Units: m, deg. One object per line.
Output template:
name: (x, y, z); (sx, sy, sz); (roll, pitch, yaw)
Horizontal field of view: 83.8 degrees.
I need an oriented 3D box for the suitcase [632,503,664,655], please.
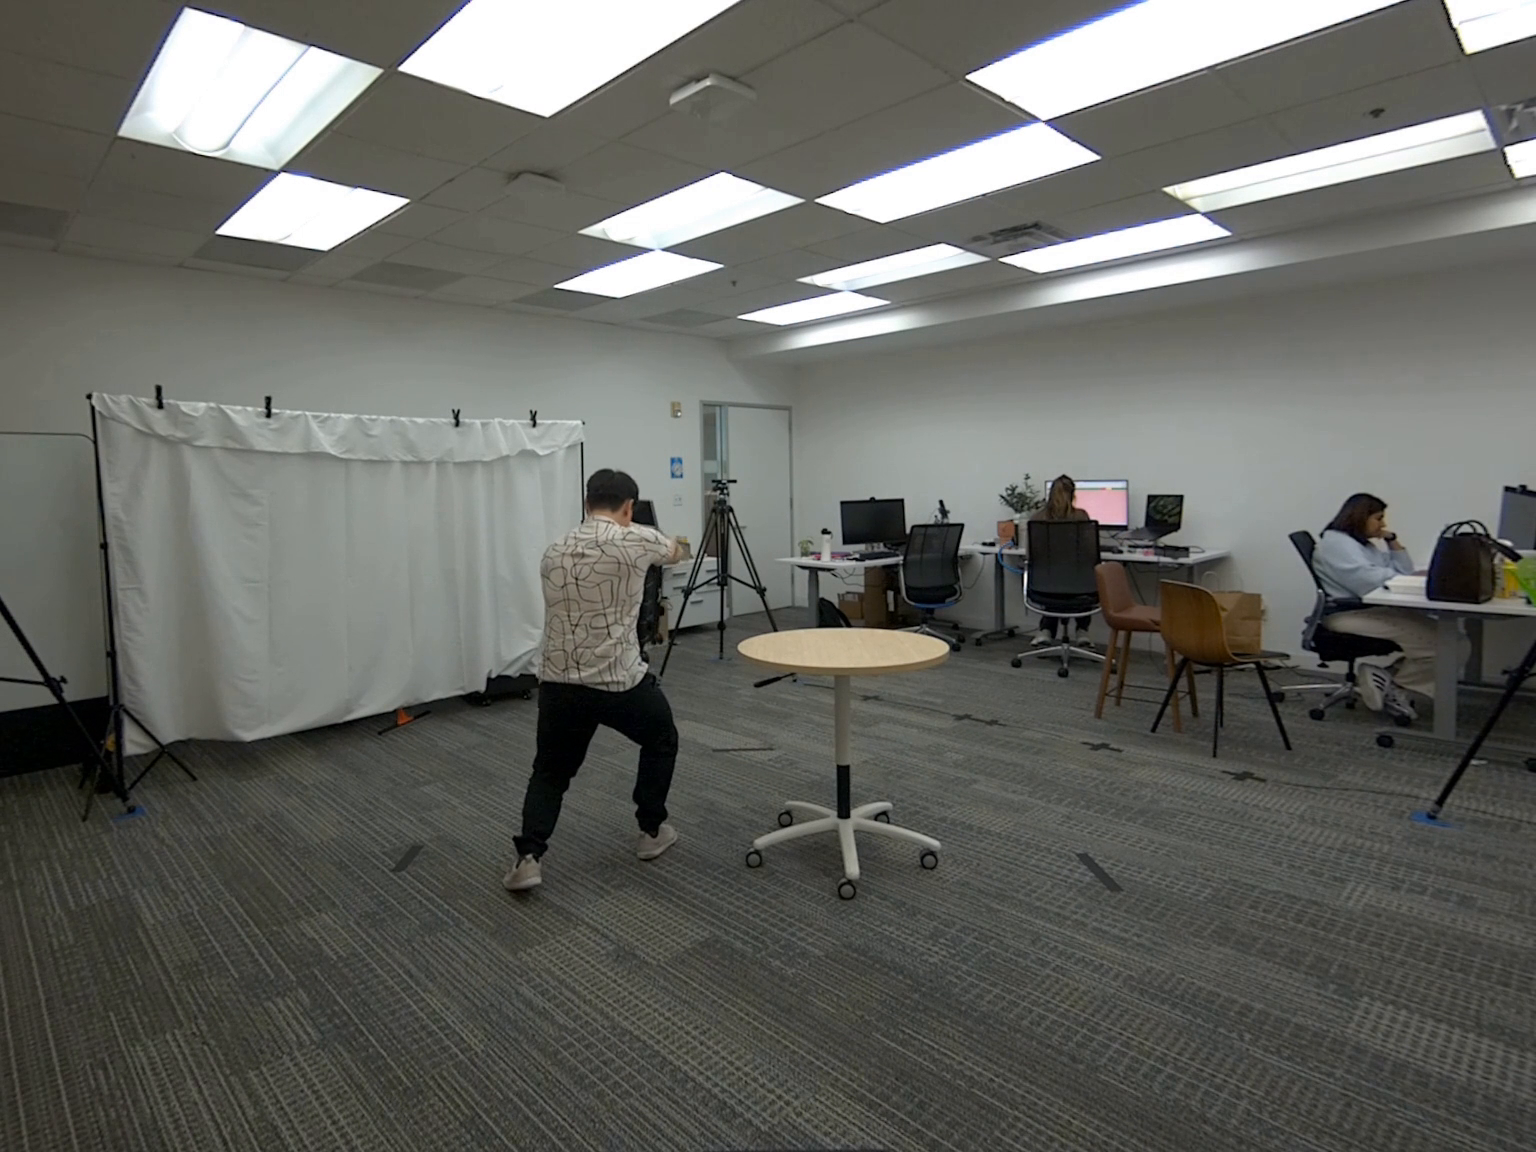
suitcase: (-0.629, 0.047, 3.593); (0.380, 0.541, 0.248); (8, 18, 12)
